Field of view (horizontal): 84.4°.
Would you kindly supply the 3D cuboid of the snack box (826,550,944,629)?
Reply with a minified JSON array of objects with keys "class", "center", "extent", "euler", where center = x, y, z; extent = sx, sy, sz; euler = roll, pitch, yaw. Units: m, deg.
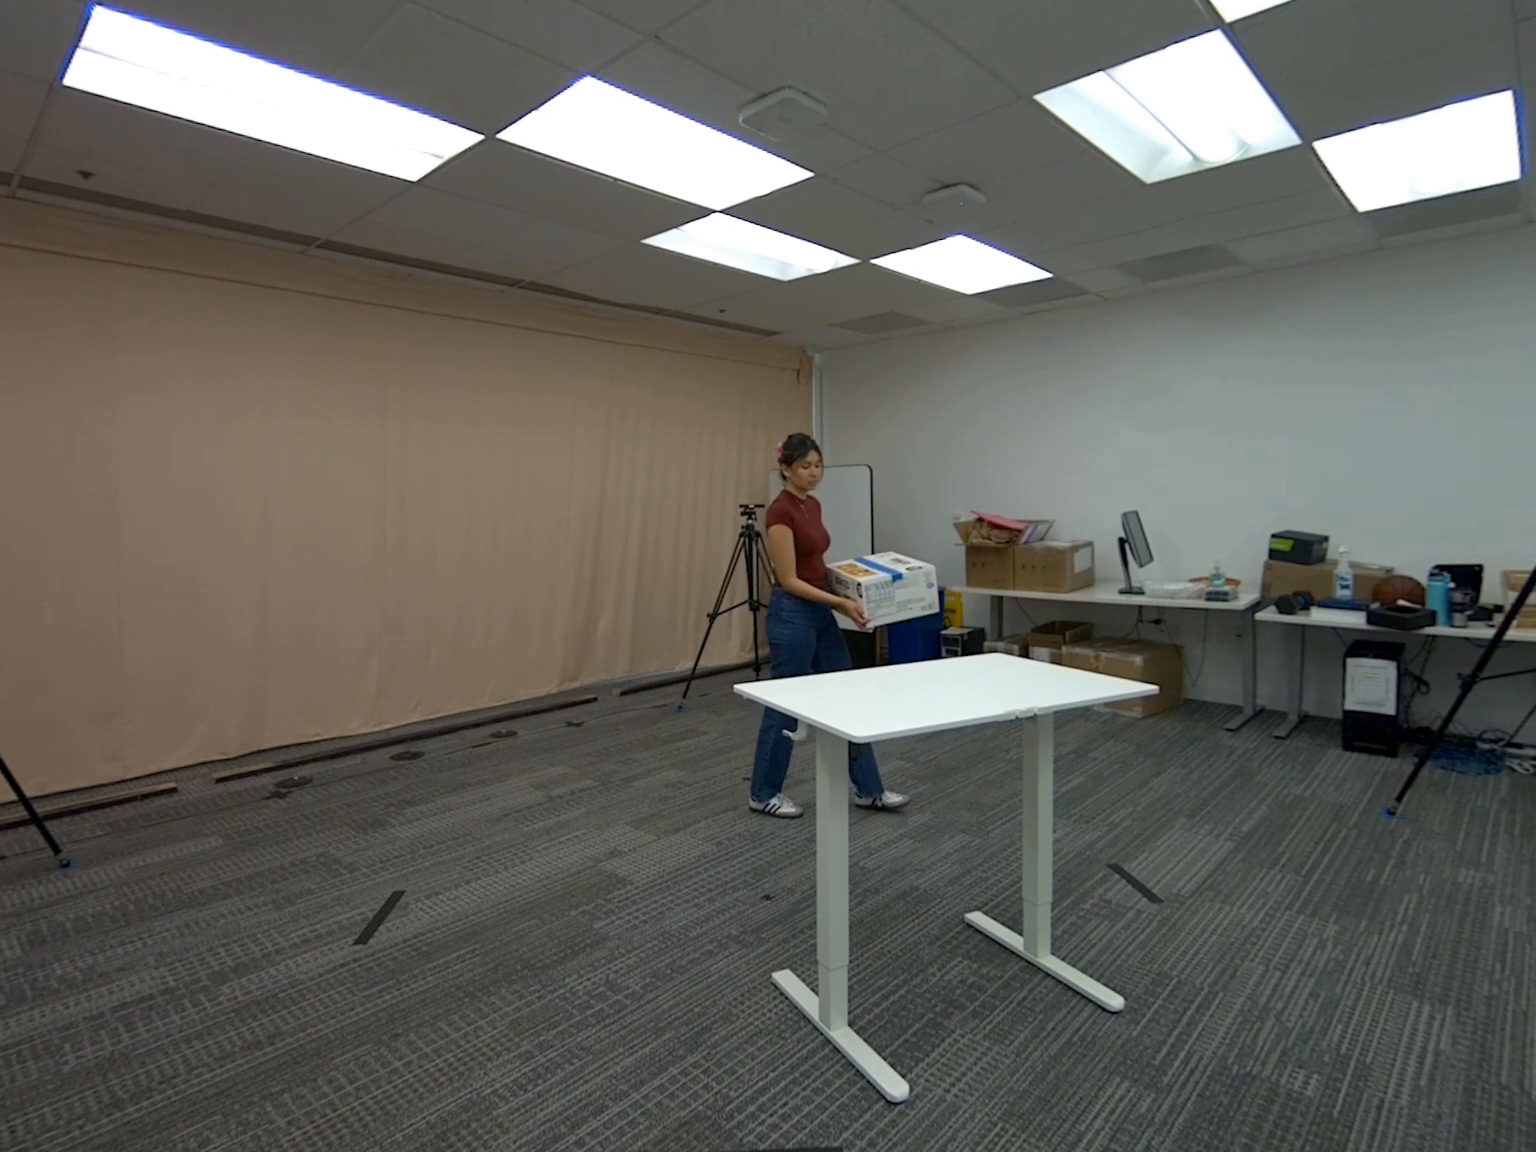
[{"class":"snack box","center":[0.491,0.046,3.679],"extent":[0.336,0.204,0.414],"euler":[-12,12,-15]}]
